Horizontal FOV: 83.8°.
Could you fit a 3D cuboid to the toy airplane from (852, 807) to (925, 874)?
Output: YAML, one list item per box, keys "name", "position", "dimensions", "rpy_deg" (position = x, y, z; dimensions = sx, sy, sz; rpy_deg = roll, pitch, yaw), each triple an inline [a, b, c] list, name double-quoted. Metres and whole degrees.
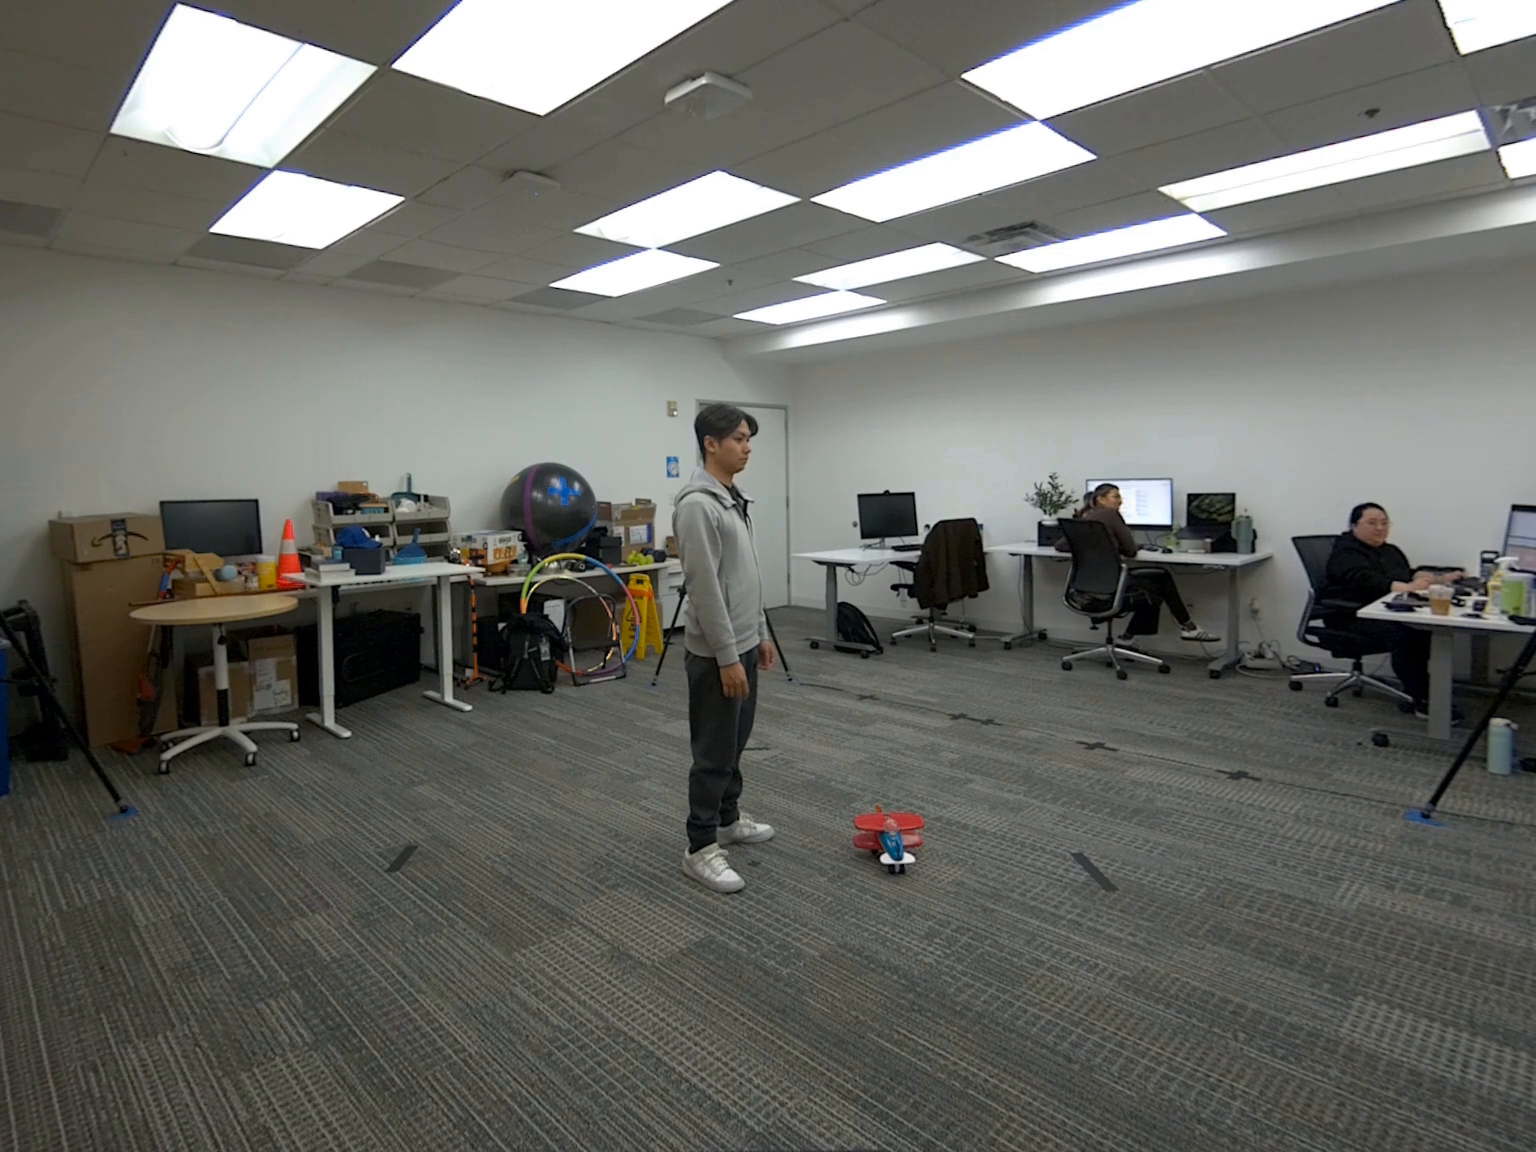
- name: "toy airplane"
  position: [0.472, 0.969, 3.097]
  dimensions: [0.245, 0.156, 0.266]
  rpy_deg: [-3, 6, -28]
